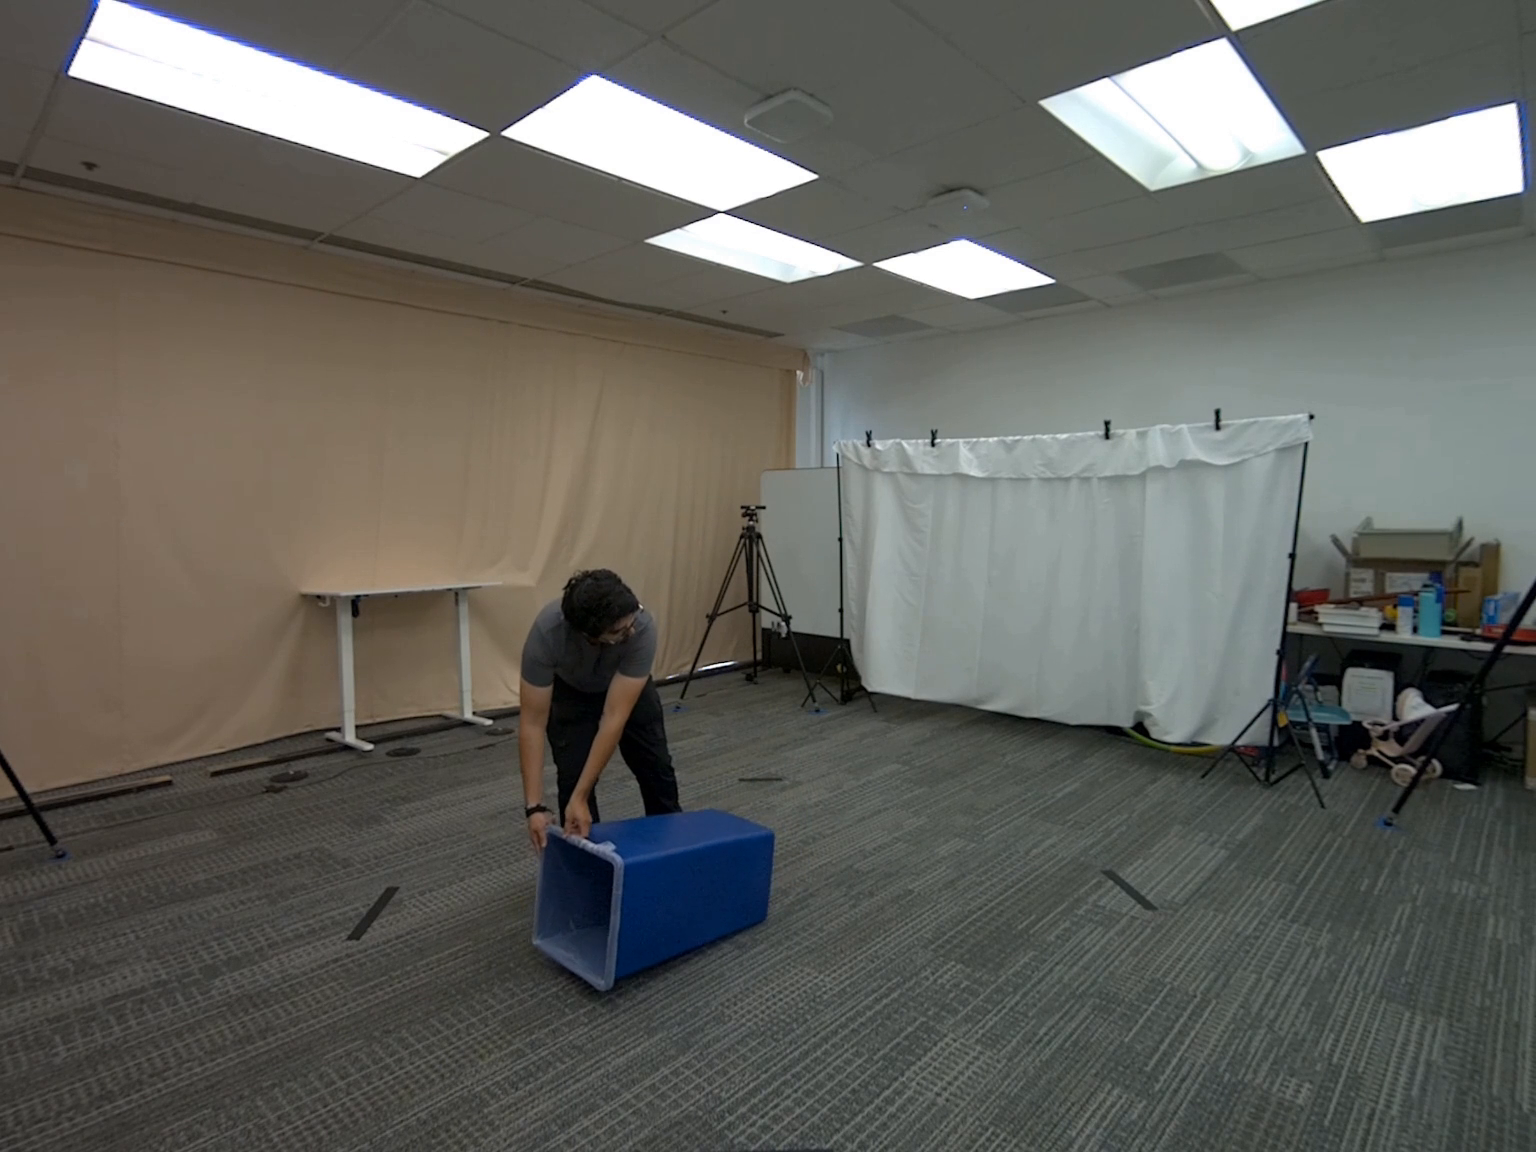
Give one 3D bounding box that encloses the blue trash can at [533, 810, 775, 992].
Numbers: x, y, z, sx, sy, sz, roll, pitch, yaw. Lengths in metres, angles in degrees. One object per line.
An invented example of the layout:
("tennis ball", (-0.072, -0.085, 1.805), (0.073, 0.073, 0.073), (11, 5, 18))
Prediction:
("blue trash can", (-0.310, 0.974, 2.677), (0.386, 0.378, 0.689), (3, -2, 43))
